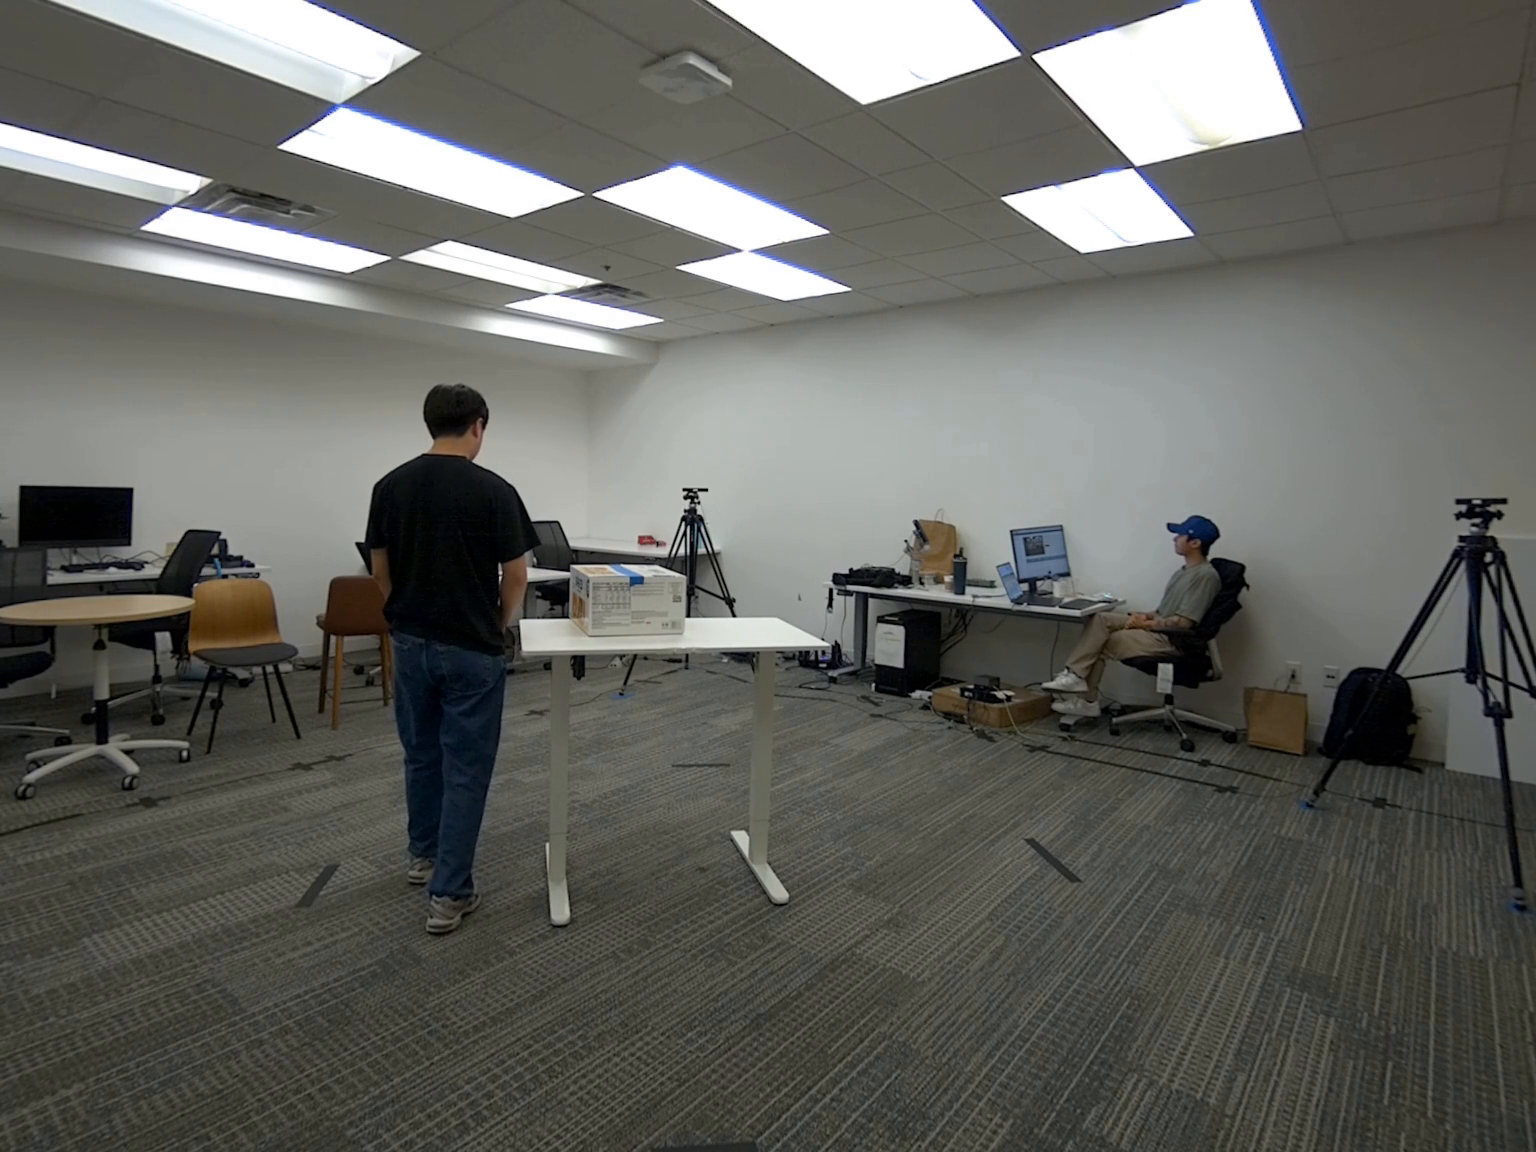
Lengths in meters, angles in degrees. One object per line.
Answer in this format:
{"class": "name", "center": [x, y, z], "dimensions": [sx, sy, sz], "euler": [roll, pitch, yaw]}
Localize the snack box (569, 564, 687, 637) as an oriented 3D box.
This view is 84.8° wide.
{"class": "snack box", "center": [-0.529, 0.078, 3.085], "dimensions": [0.333, 0.205, 0.415], "euler": [0, 6, -21]}
